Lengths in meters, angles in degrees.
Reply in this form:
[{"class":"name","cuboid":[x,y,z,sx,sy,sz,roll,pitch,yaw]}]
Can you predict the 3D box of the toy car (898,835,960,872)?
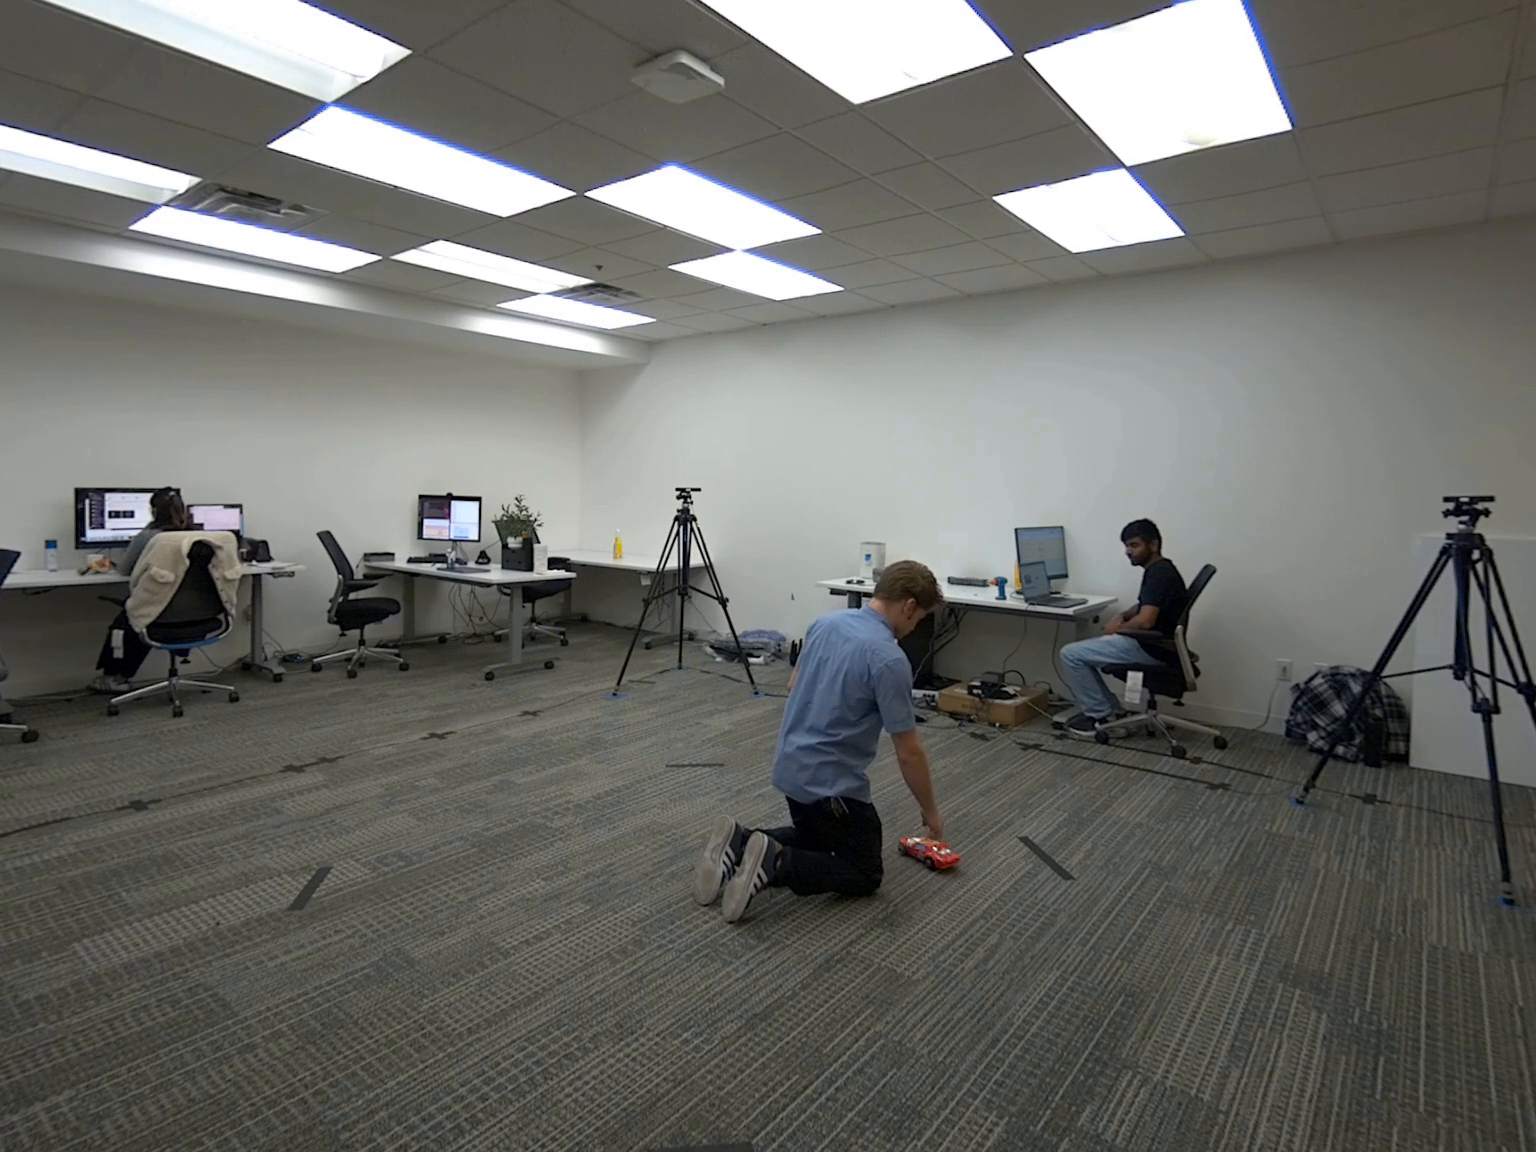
[{"class":"toy car","cuboid":[0.606,1.048,3.212,0.126,0.083,0.260,-1,-4,-33]}]
